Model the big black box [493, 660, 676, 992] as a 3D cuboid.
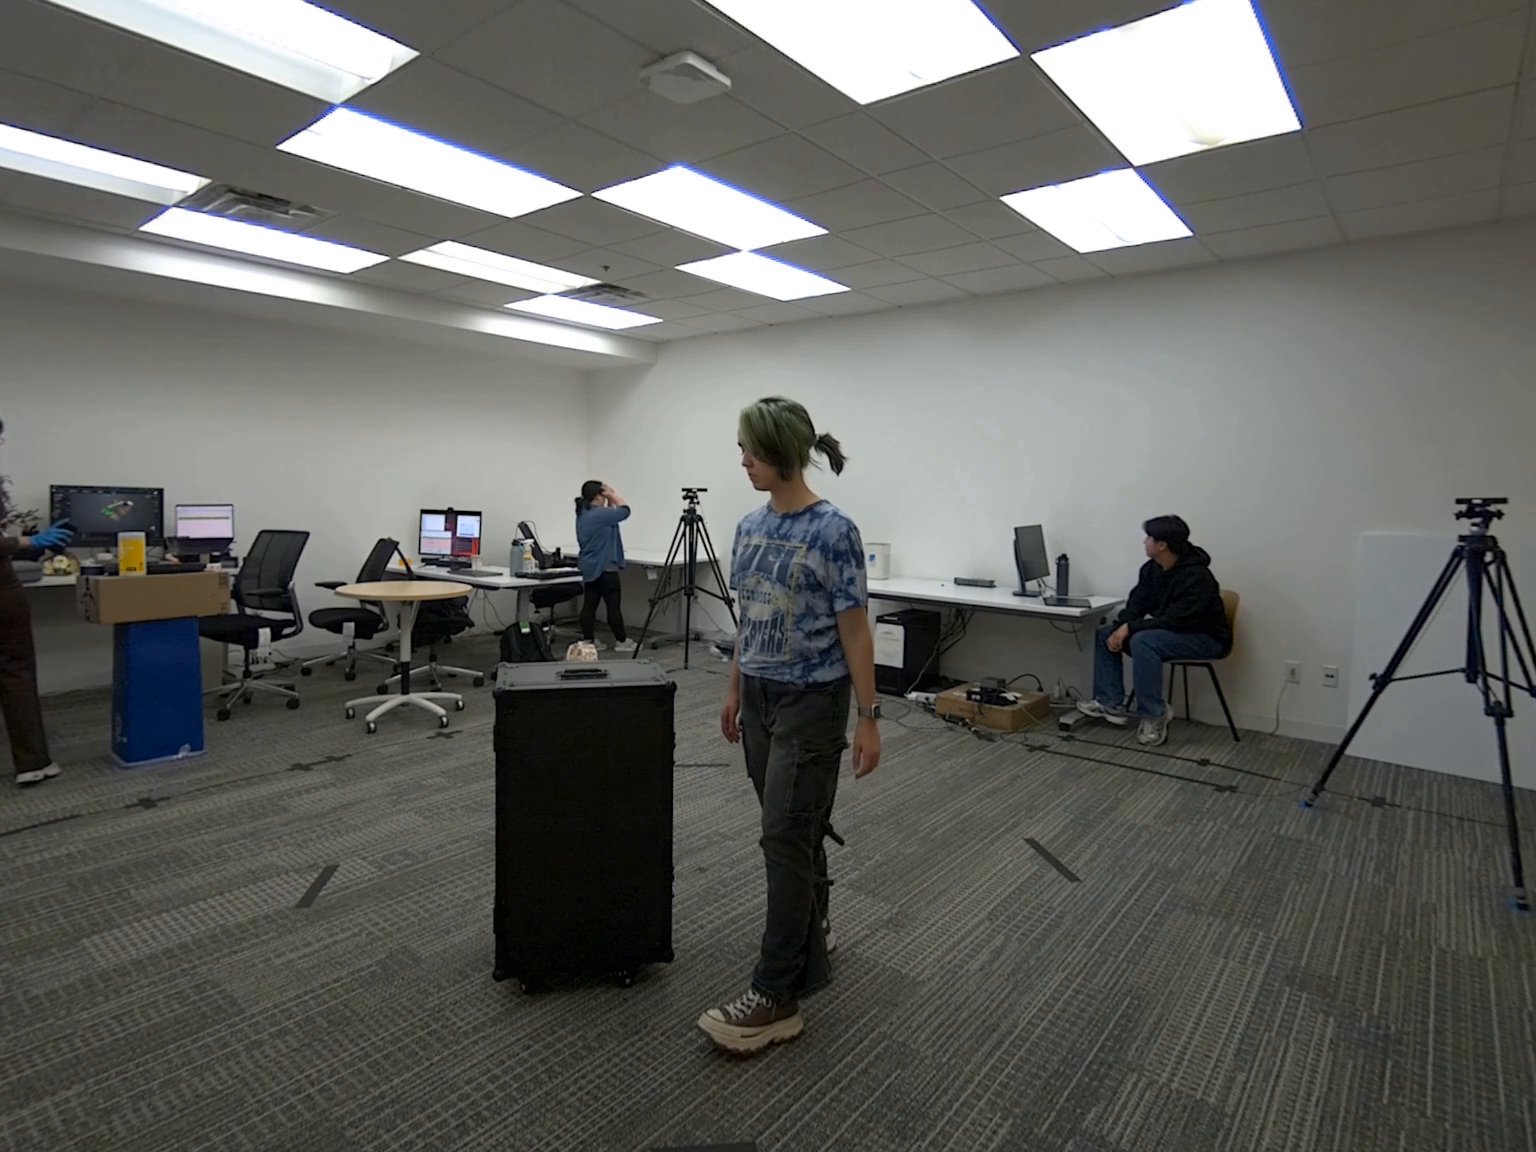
[{"bbox_3d":[-0.552,0.706,2.474,0.514,0.860,0.403,-1,2,-14],"label":"big black box"}]
